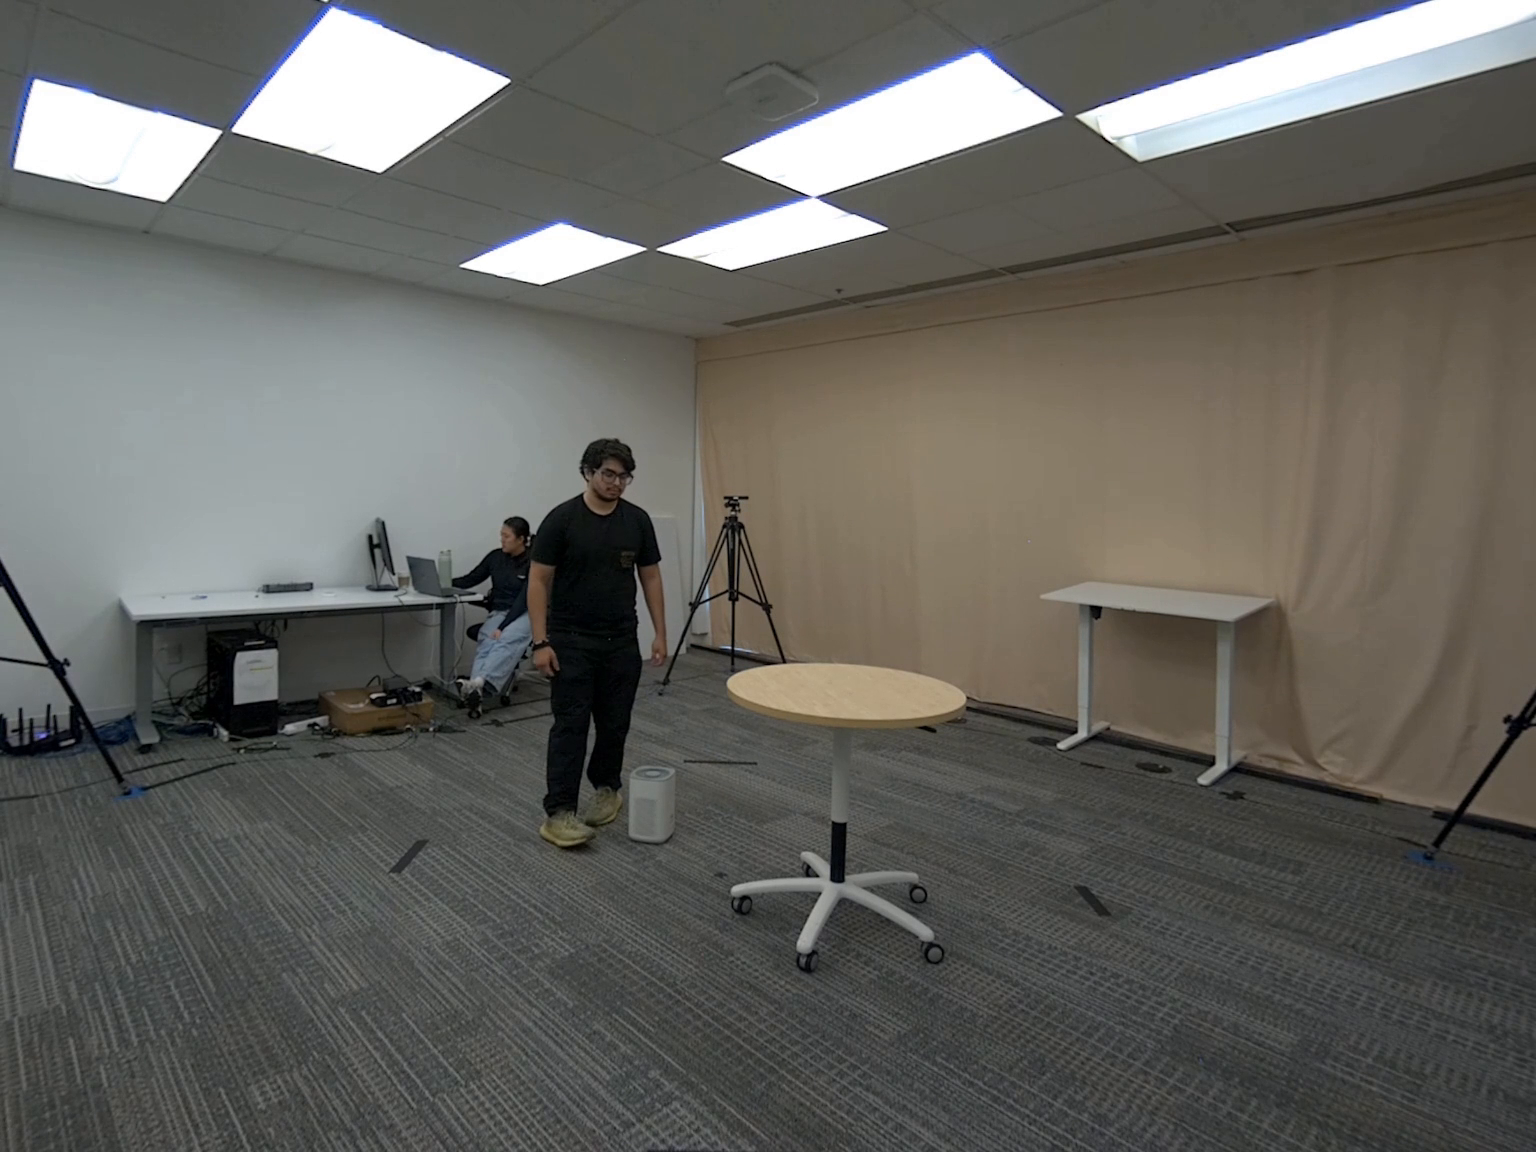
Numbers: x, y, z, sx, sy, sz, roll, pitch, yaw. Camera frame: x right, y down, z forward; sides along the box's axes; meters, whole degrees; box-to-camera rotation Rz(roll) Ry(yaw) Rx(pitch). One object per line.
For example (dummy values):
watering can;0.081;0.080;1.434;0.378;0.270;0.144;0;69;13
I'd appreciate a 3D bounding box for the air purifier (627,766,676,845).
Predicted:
air purifier;-0.481;0.934;3.434;0.176;0.261;0.166;3;3;15
